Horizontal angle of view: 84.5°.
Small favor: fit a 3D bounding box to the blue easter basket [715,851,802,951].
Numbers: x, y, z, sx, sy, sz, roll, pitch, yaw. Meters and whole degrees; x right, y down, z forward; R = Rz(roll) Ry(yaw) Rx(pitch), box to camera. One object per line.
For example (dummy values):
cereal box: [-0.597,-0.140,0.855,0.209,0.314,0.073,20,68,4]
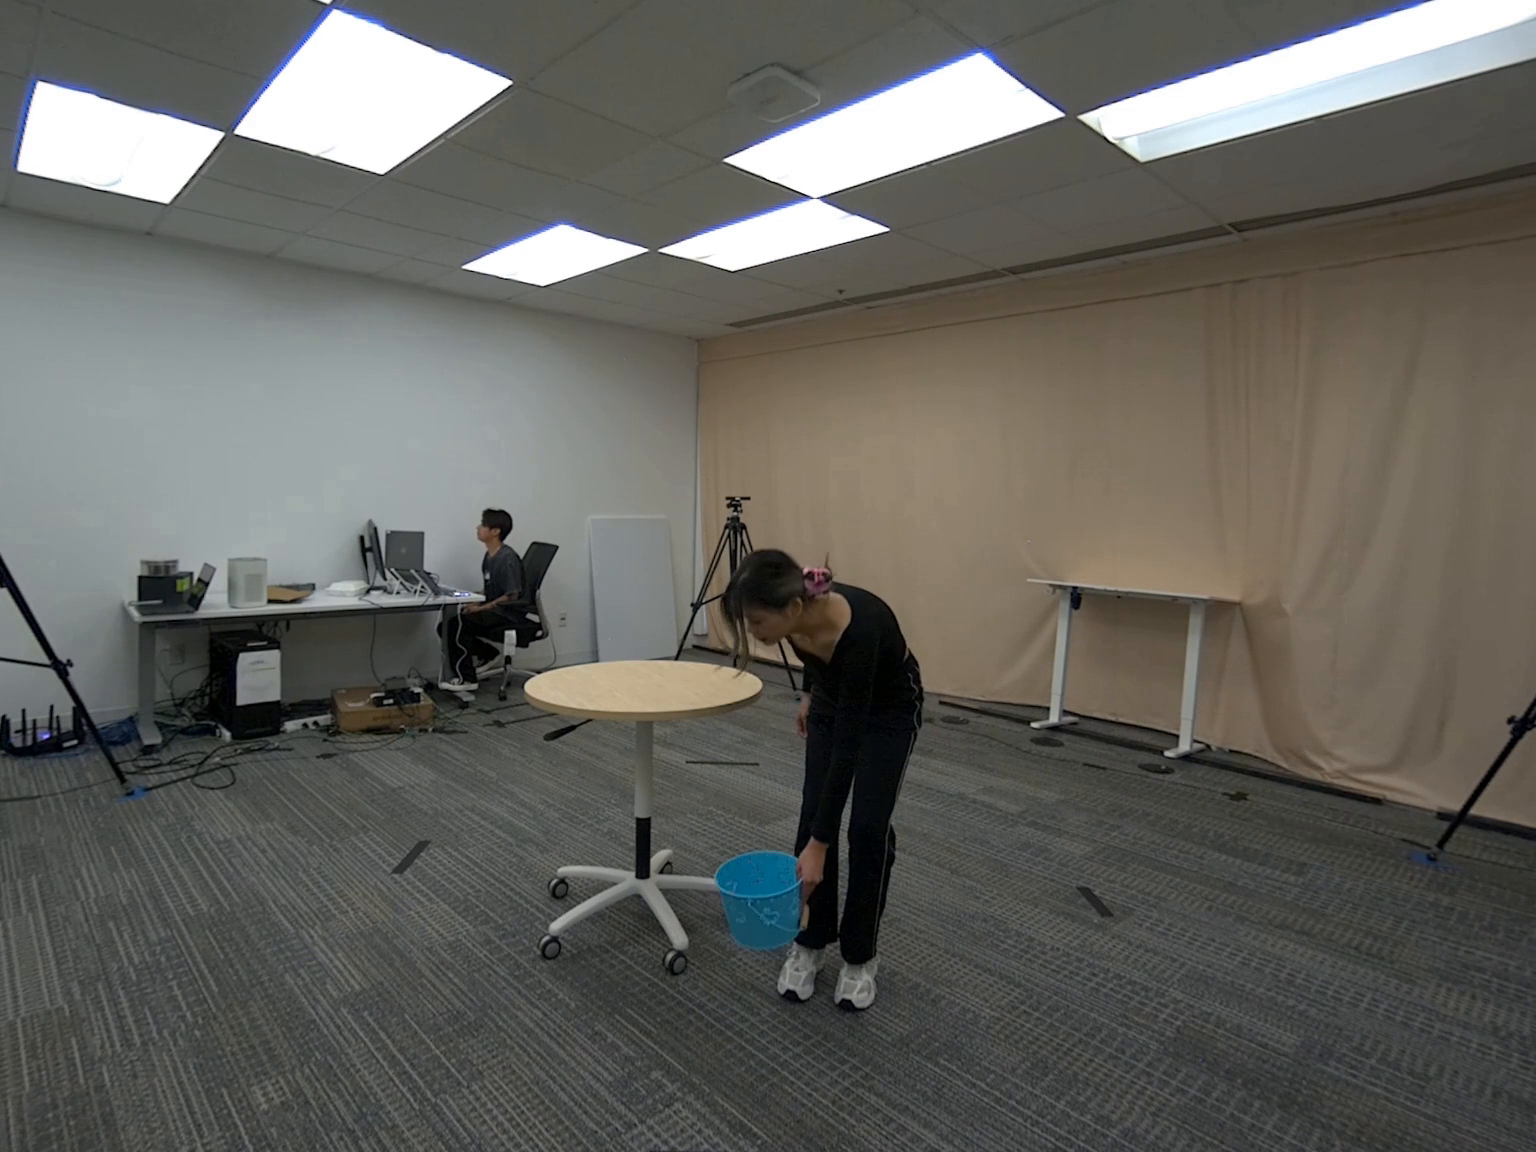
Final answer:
blue easter basket: [-0.012,0.842,2.147,0.243,0.155,0.245,-6,7,-1]
